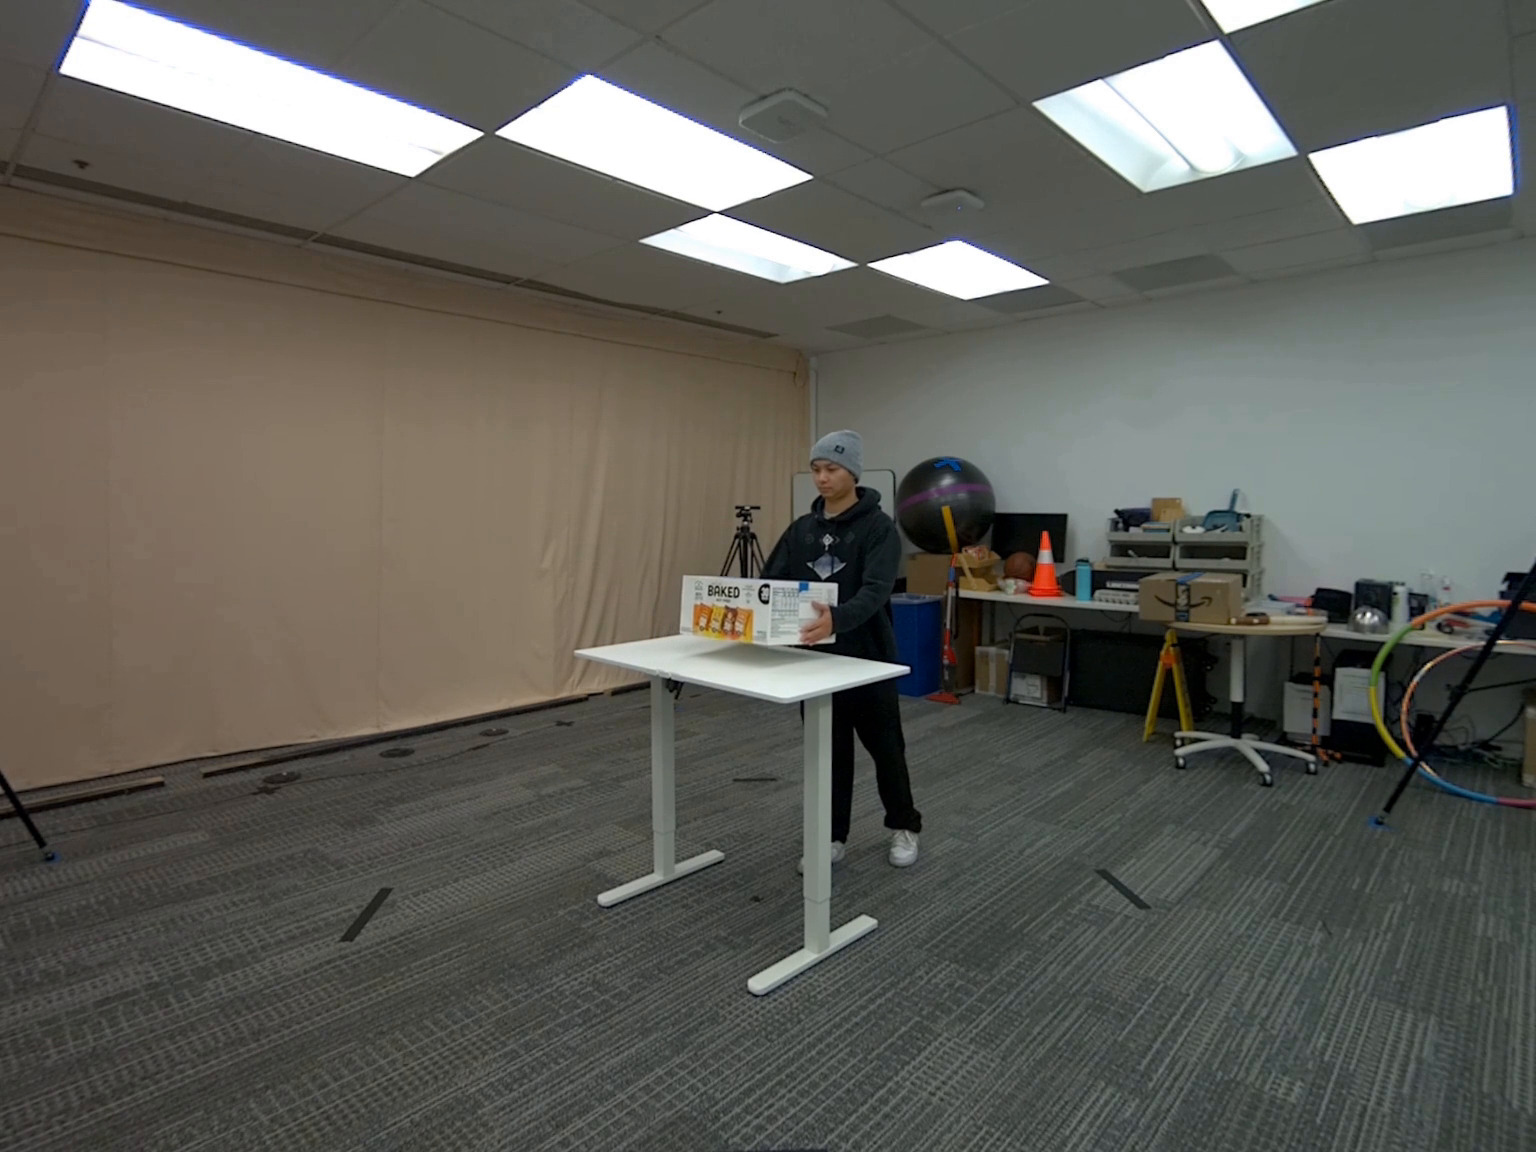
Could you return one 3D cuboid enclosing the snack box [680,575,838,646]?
[{"bbox_3d":[-0.028,0.113,2.856,0.419,0.206,0.329,4,1,43],"label":"snack box"}]
